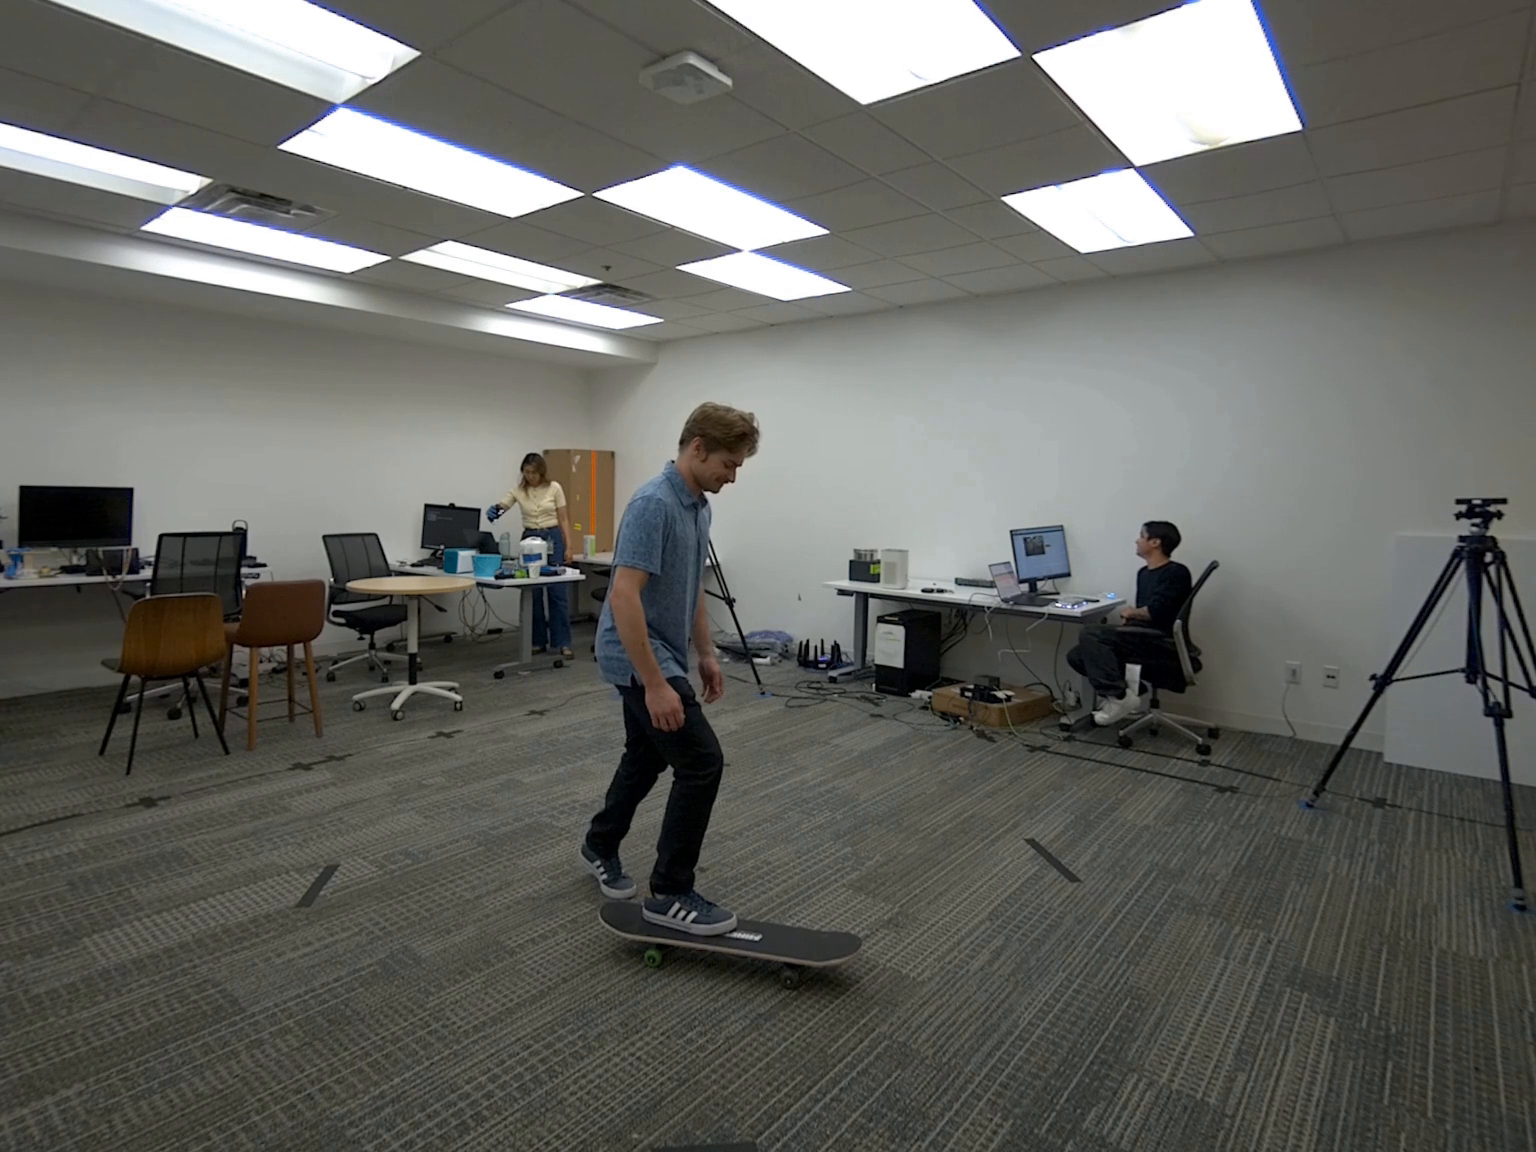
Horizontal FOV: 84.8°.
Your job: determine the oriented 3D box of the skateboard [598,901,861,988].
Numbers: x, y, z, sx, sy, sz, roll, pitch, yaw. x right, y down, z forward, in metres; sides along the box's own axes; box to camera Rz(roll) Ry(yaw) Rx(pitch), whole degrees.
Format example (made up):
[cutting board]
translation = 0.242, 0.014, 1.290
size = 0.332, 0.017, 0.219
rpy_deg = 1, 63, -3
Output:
[skateboard]
translation = -0.127, 1.070, 2.501
size = 0.796, 0.110, 0.191
rpy_deg = 2, 3, 12
